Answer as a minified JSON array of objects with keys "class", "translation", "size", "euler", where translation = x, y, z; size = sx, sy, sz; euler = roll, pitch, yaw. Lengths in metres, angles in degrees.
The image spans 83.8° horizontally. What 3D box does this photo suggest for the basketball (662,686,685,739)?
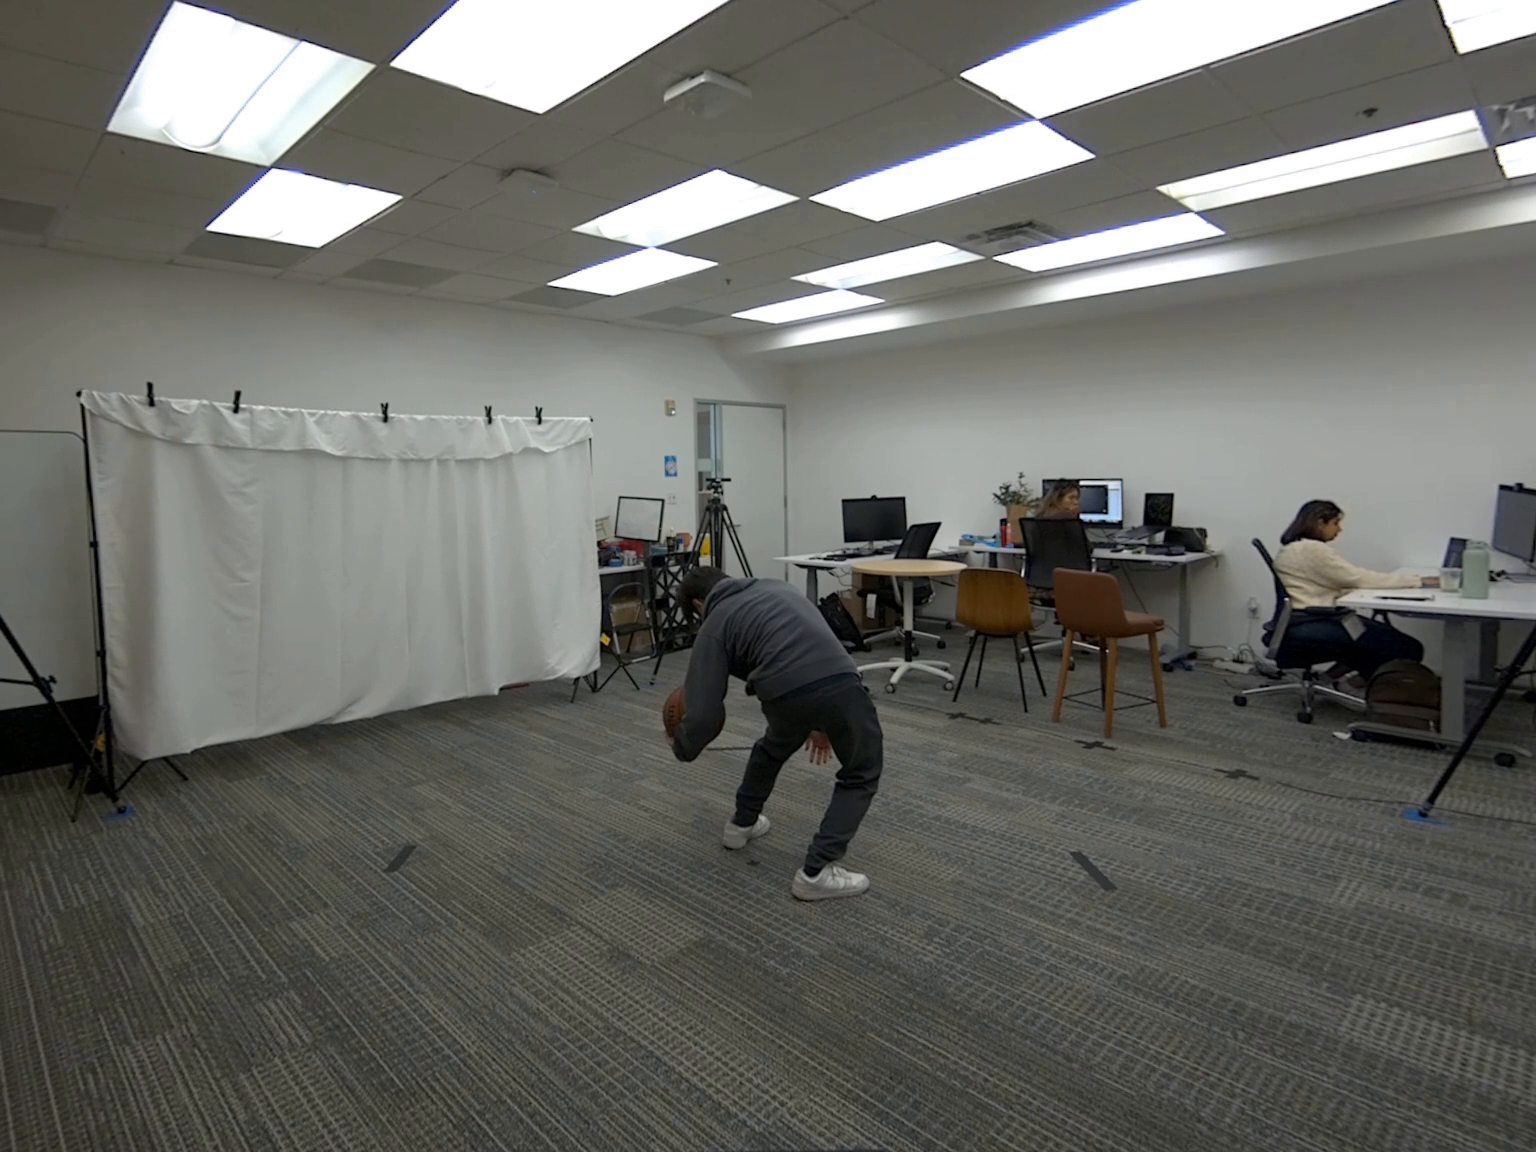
[{"class":"basketball","translation":[-0.271,0.519,3.218],"size":[0.236,0.235,0.237],"euler":[-1,5,-2]}]
